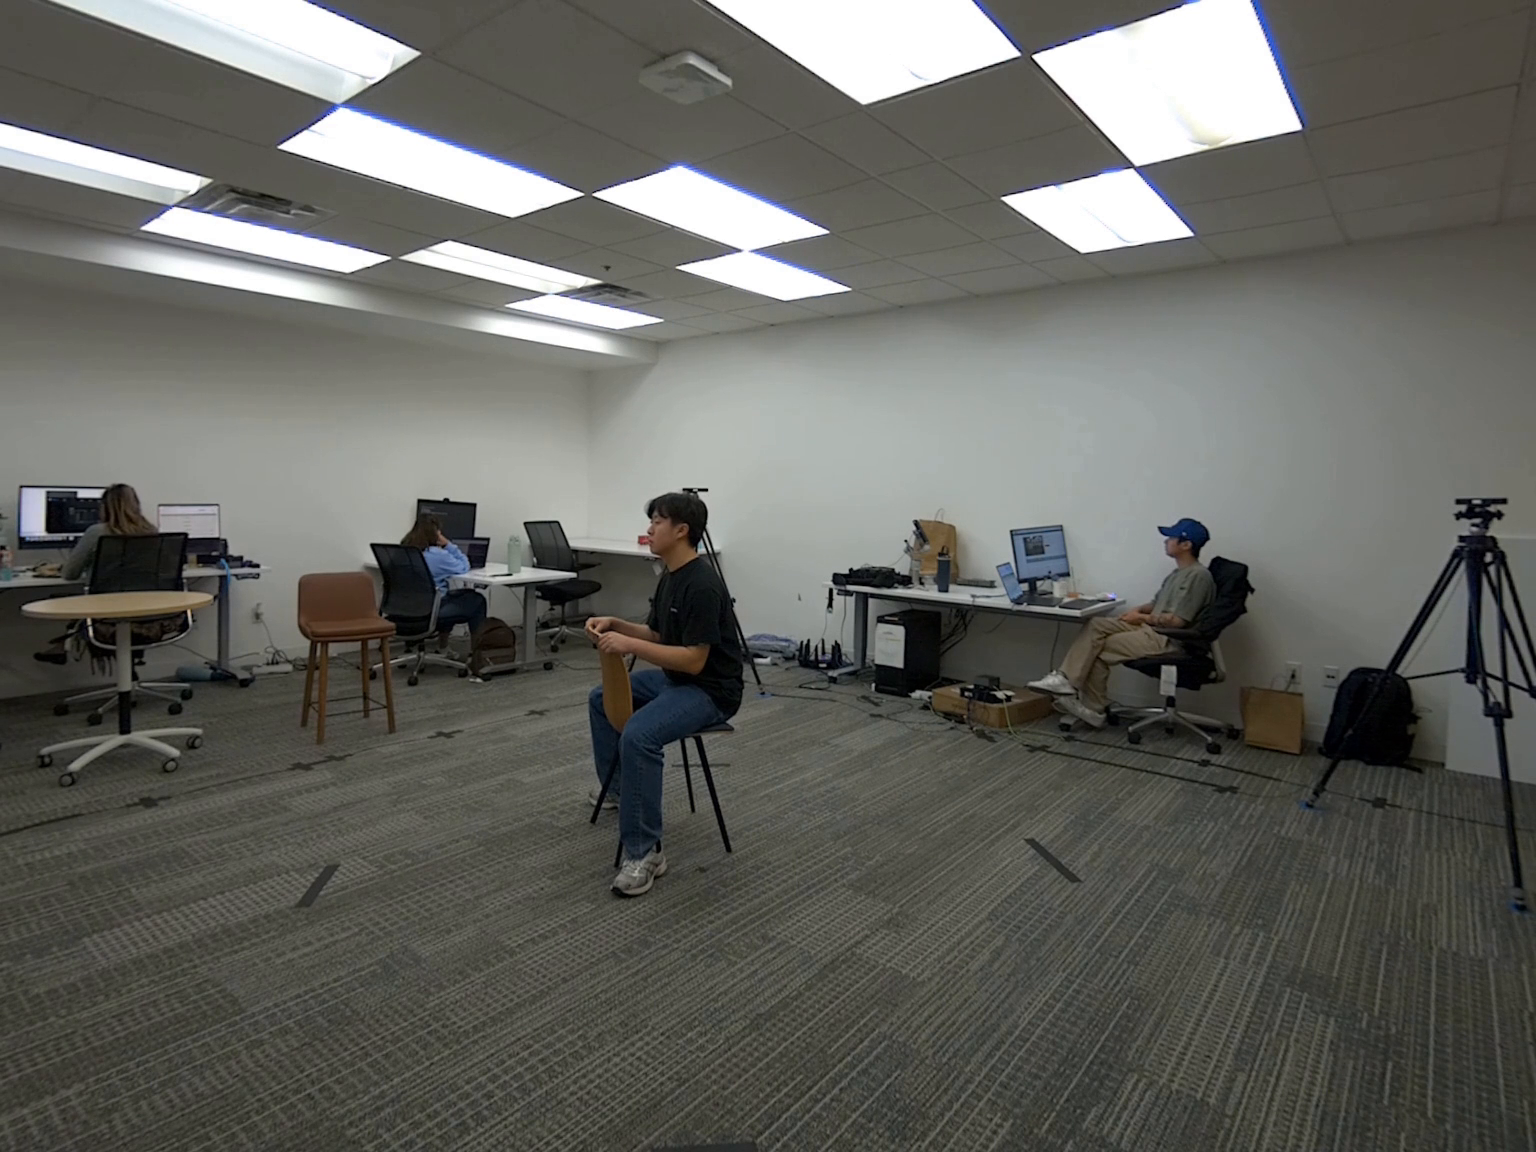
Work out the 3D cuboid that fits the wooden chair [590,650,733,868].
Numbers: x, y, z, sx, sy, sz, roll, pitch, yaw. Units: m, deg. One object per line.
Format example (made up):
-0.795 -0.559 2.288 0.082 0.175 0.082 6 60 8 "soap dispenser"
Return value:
-0.429 0.614 3.369 0.513 0.874 0.489 -4 4 -22 "wooden chair"
